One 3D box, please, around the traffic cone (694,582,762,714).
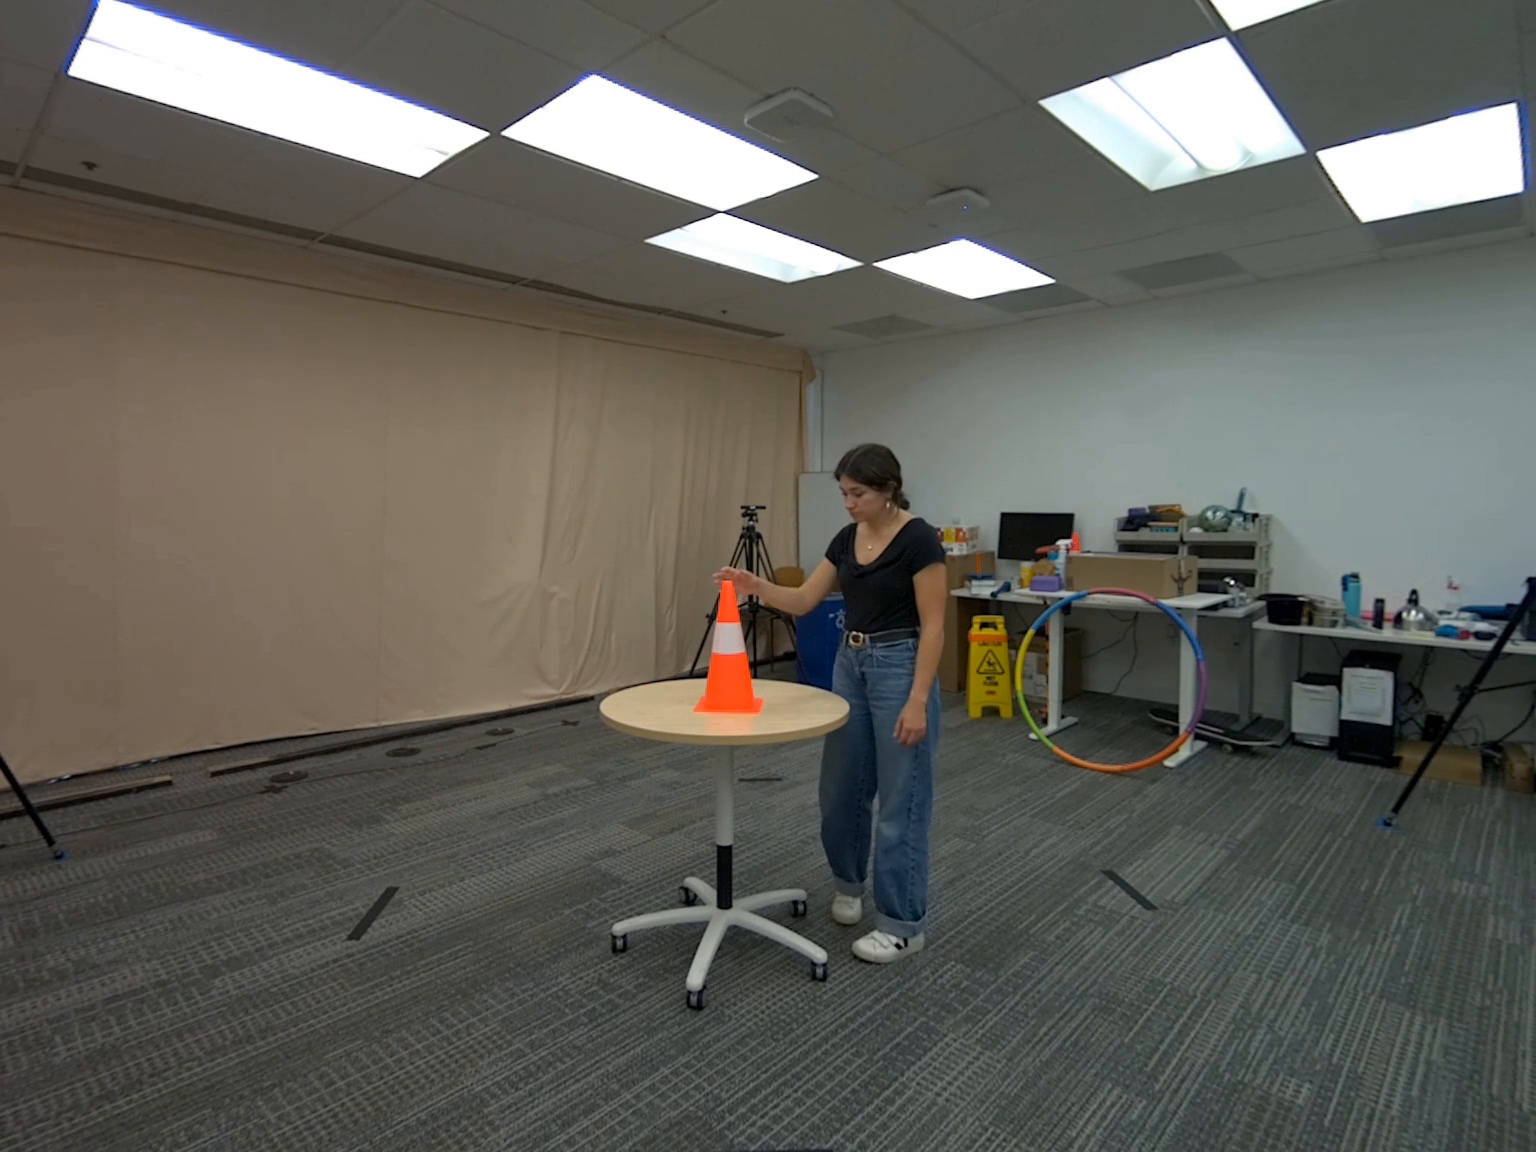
[{"bbox_3d":[-0.111,0.215,2.564,0.206,0.383,0.203,-1,4,2],"label":"traffic cone"}]
